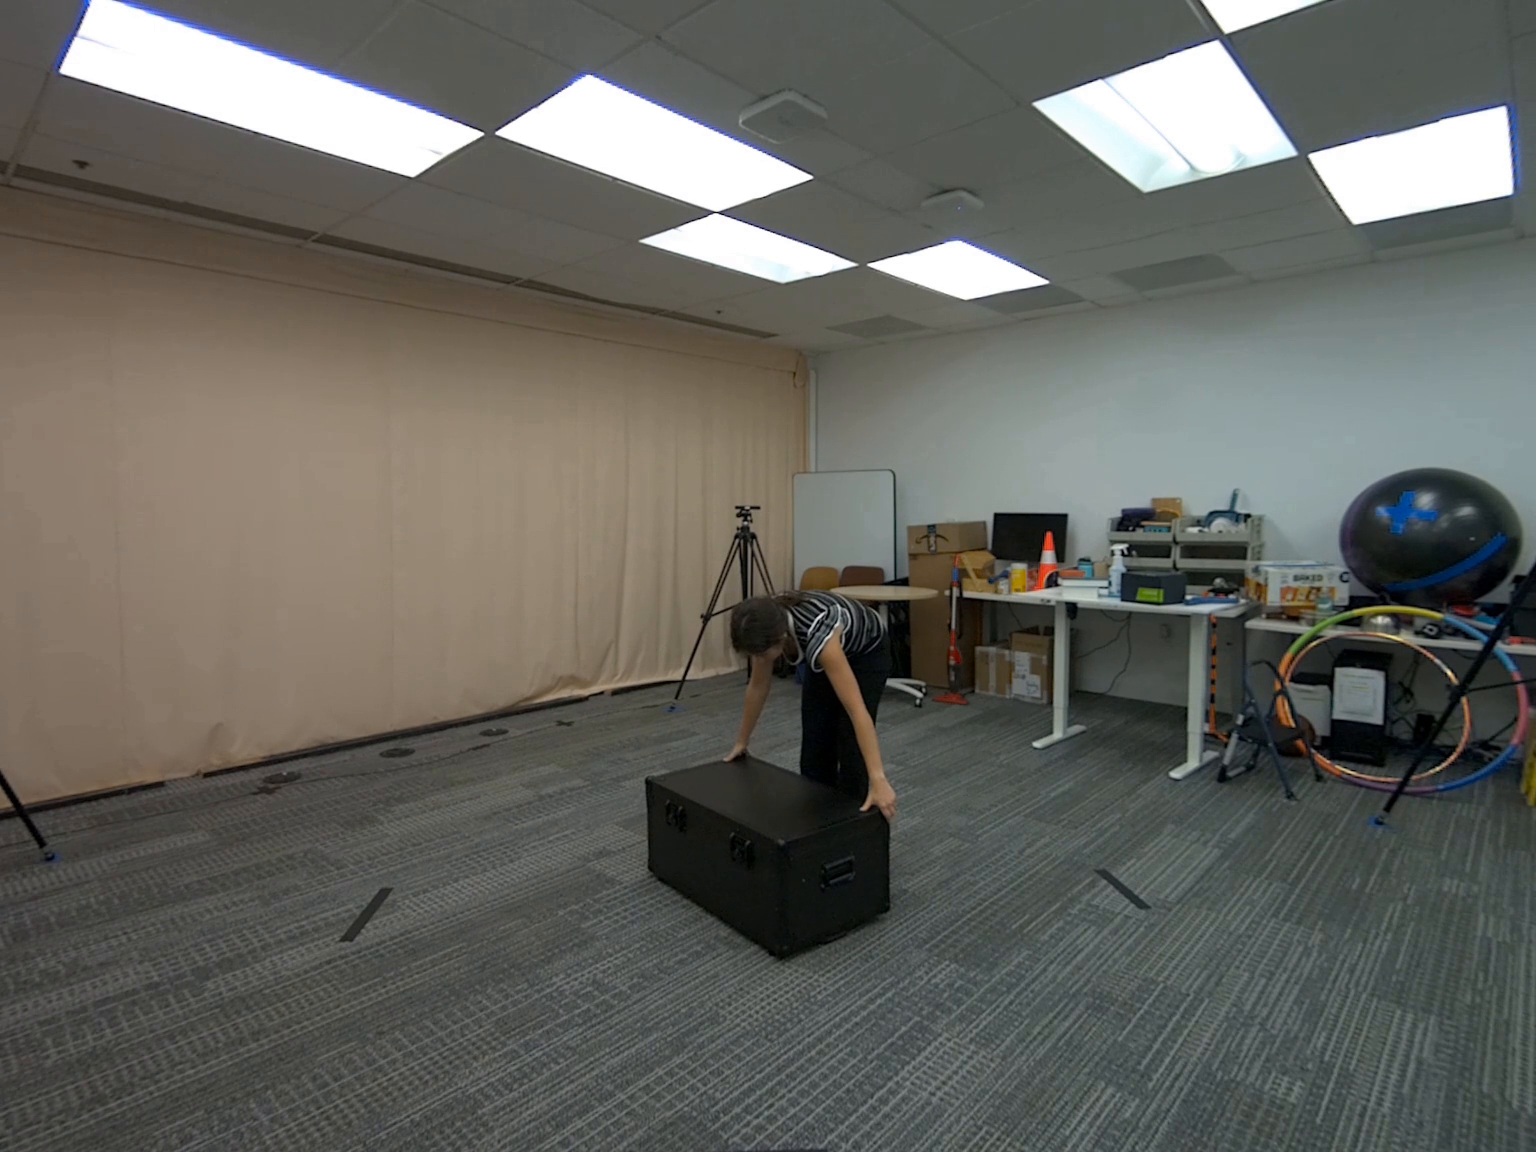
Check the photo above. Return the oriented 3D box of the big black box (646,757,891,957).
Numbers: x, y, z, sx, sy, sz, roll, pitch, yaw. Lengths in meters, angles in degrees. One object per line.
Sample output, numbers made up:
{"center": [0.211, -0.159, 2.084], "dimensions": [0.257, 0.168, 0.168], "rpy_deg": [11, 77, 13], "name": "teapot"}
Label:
{"center": [-0.040, 0.947, 3.022], "dimensions": [0.506, 0.395, 0.890], "rpy_deg": [-4, 7, -38], "name": "big black box"}
